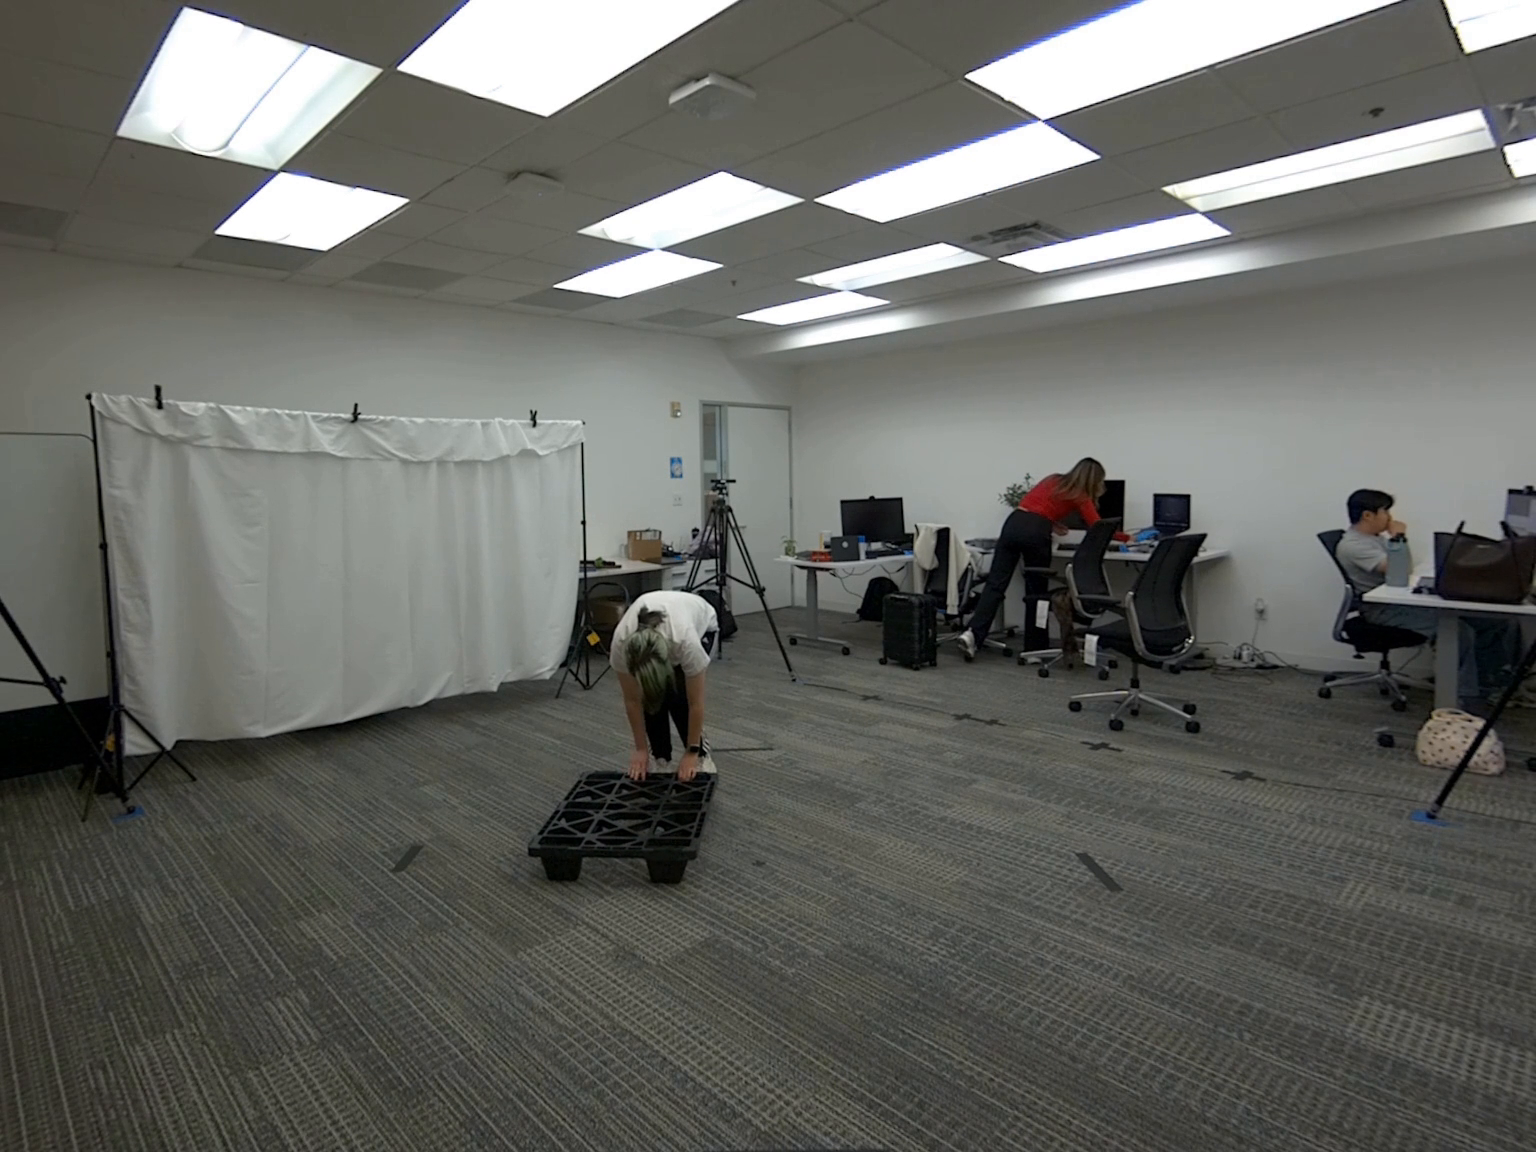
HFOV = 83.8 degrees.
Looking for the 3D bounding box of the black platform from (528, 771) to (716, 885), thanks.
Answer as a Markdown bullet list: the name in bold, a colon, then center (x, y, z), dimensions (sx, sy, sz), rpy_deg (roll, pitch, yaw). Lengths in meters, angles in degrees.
- **black platform**: center (-0.529, 0.964, 3.336), dimensions (0.608, 0.143, 0.805), rpy_deg (-2, 6, 4)
